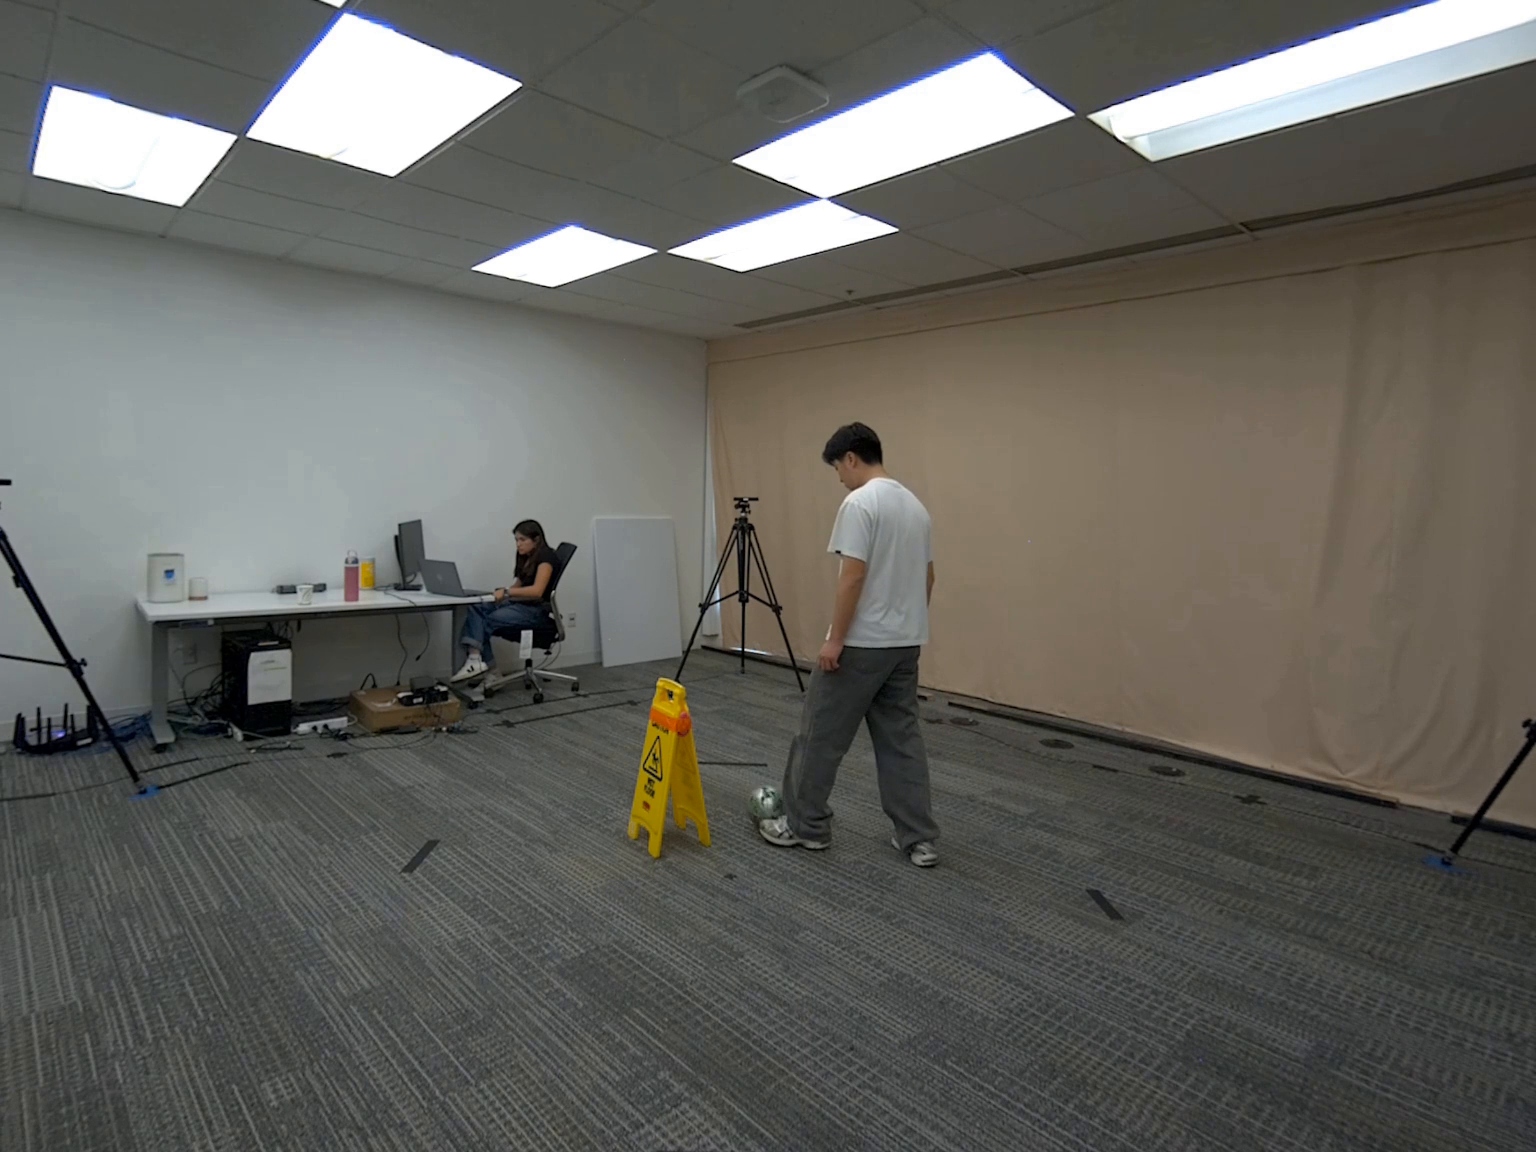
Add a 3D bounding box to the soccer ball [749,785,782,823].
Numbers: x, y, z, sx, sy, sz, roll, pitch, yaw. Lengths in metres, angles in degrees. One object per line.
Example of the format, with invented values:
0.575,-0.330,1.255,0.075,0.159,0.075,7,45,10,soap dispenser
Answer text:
0.004,0.975,3.566,0.187,0.187,0.188,1,4,-1,soccer ball
